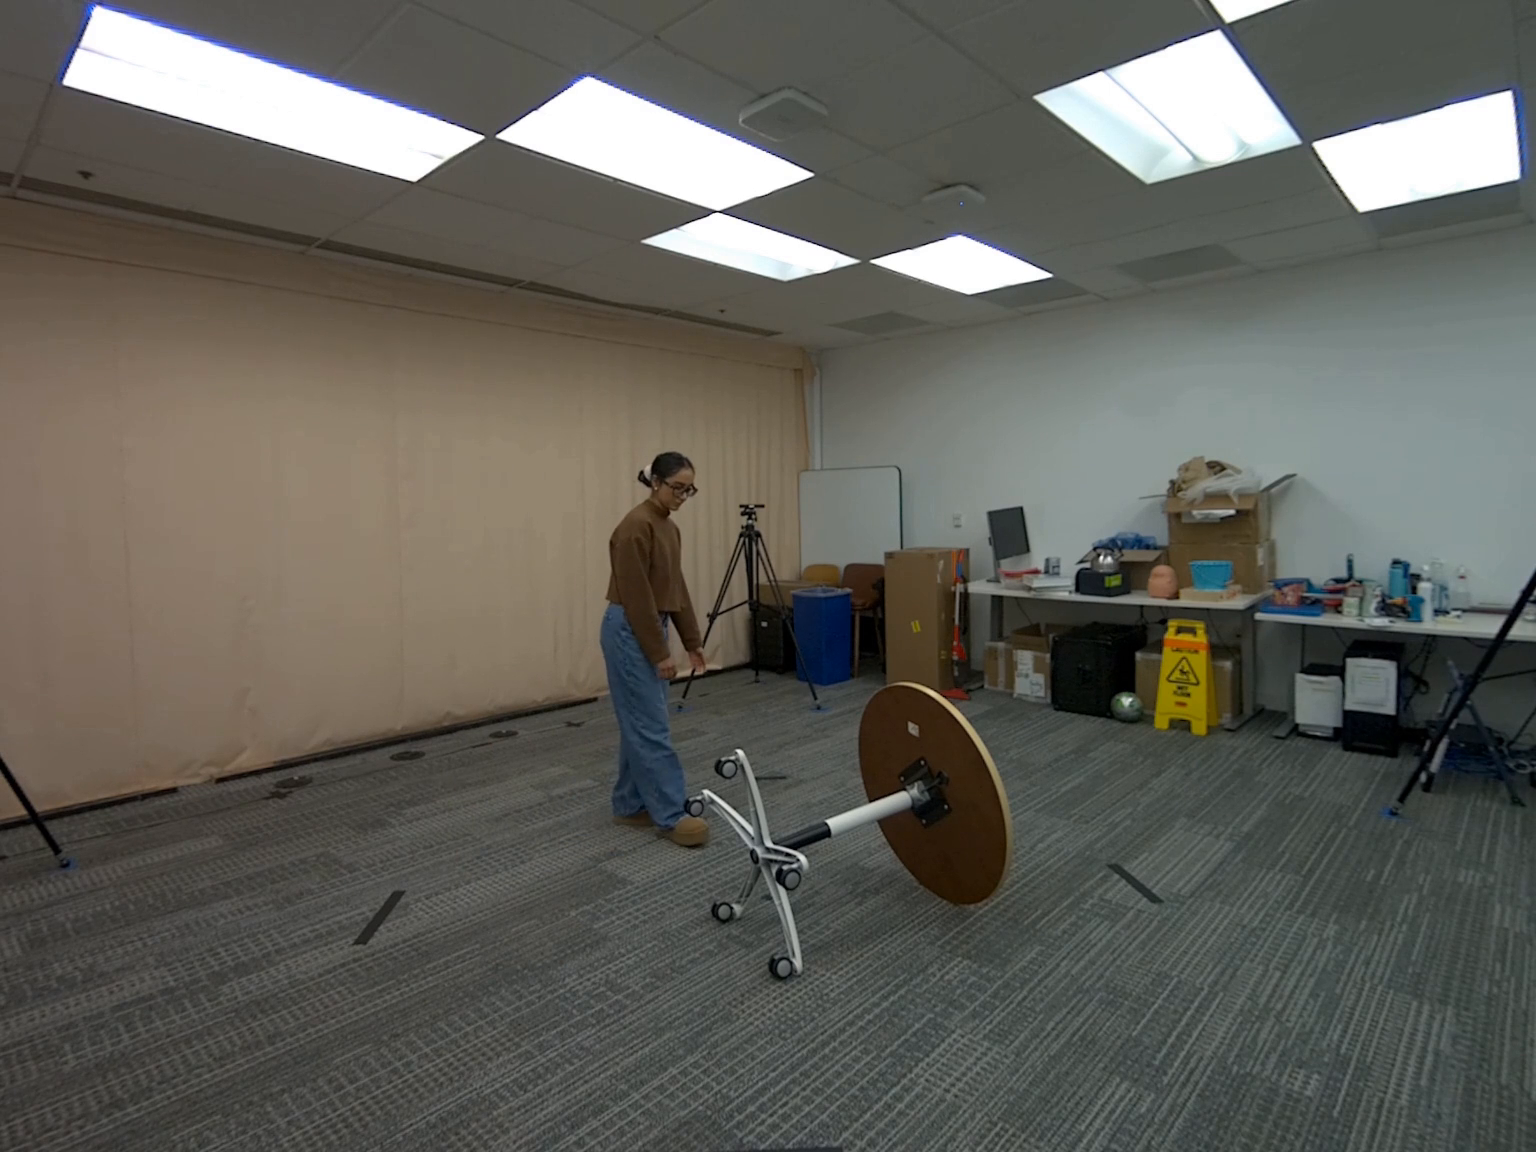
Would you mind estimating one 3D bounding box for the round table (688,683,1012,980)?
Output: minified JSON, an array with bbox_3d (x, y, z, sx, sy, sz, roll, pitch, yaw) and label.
[{"bbox_3d":[0.234,0.819,2.771,0.776,0.760,0.785,-12,8,-27],"label":"round table"}]
